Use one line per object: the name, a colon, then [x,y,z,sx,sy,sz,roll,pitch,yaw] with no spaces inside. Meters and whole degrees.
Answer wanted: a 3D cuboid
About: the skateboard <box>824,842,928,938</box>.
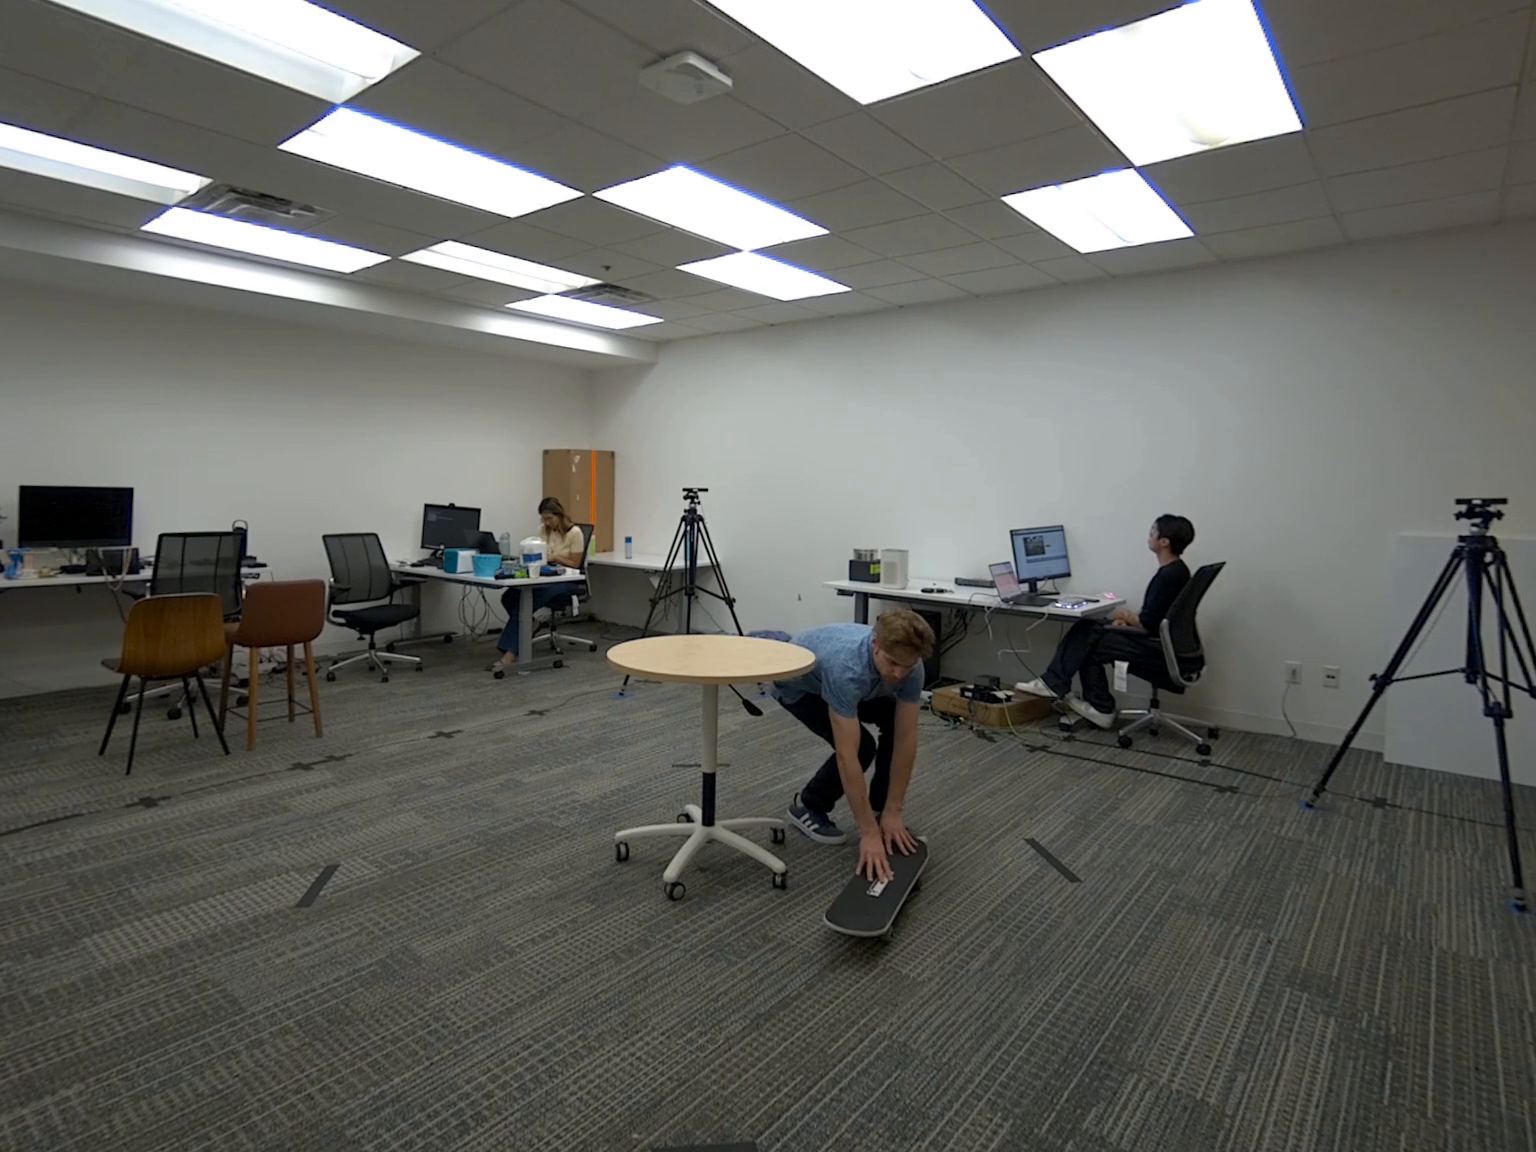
skateboard: [0.373,1.055,2.843,0.198,0.110,0.768,3,6,24]
